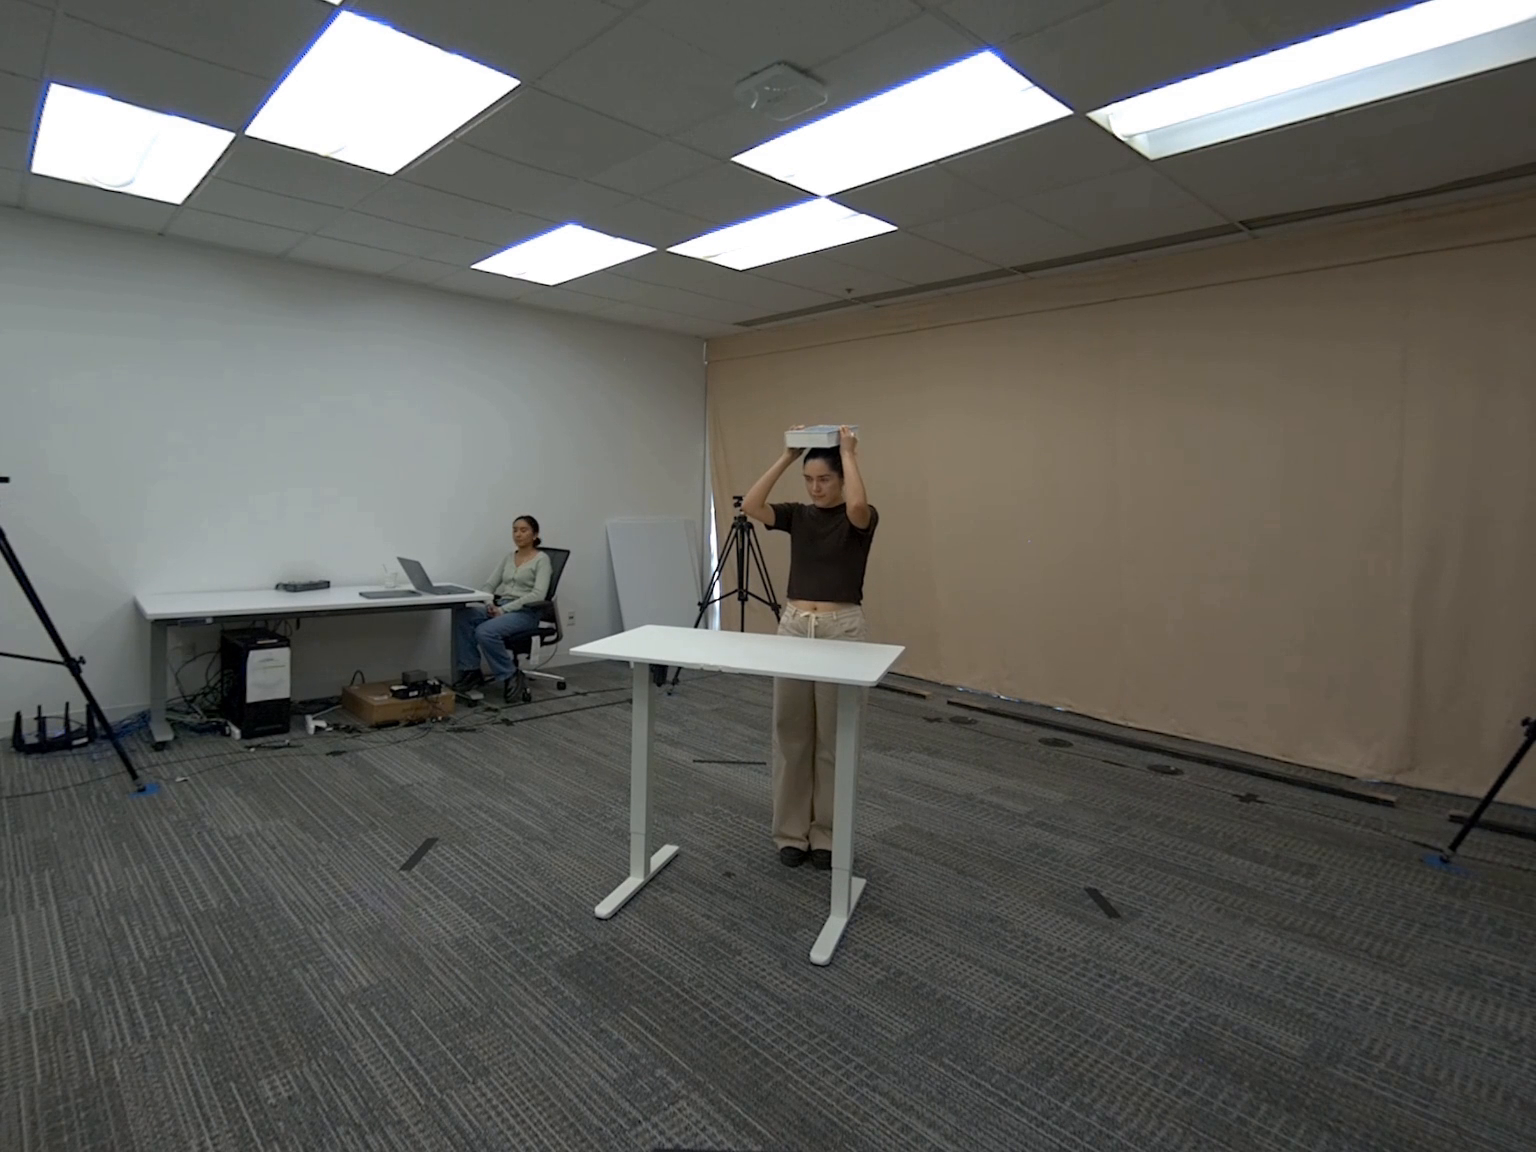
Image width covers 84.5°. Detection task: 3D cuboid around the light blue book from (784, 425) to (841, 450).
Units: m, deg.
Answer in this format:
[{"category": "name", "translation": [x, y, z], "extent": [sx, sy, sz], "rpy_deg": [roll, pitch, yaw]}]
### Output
[{"category": "light blue book", "translation": [0.204, -0.536, 3.210], "extent": [0.196, 0.058, 0.258], "rpy_deg": [7, 17, 31]}]
